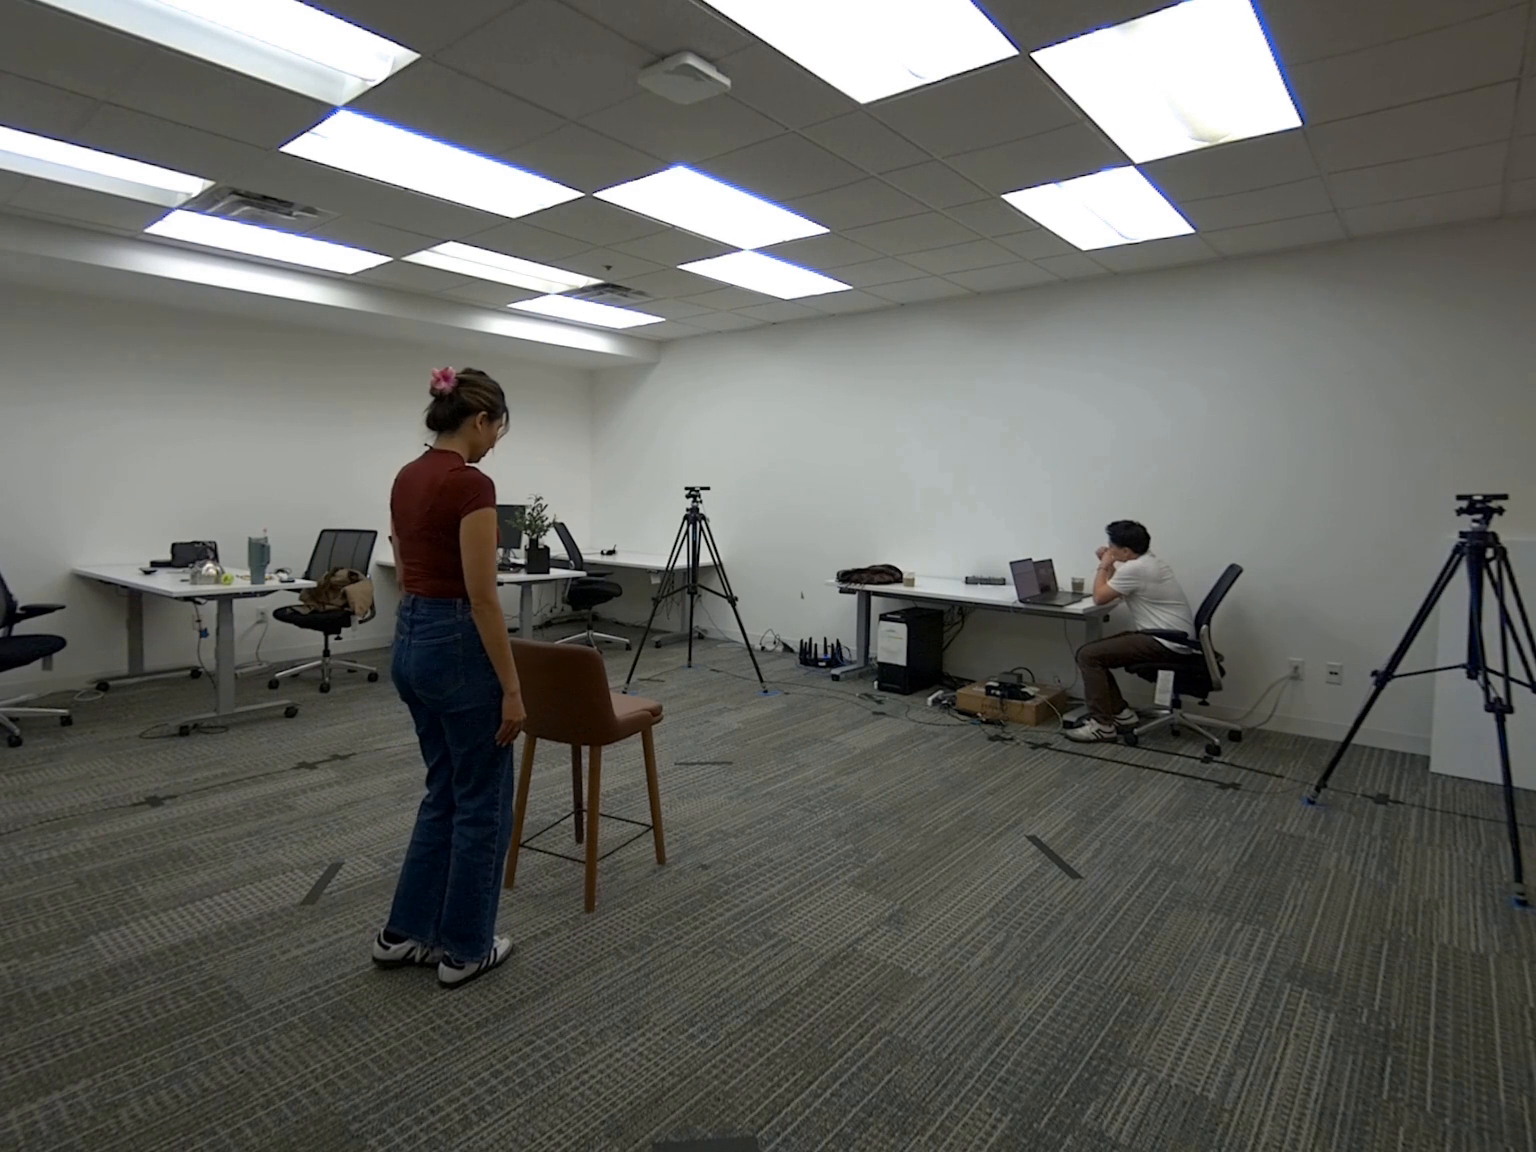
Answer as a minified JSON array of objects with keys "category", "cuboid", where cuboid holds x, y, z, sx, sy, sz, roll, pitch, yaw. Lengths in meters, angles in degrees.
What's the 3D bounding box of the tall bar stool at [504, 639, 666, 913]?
[{"category":"tall bar stool","cuboid":[-0.662,0.632,3.018,0.469,0.886,0.457,2,5,27]}]
